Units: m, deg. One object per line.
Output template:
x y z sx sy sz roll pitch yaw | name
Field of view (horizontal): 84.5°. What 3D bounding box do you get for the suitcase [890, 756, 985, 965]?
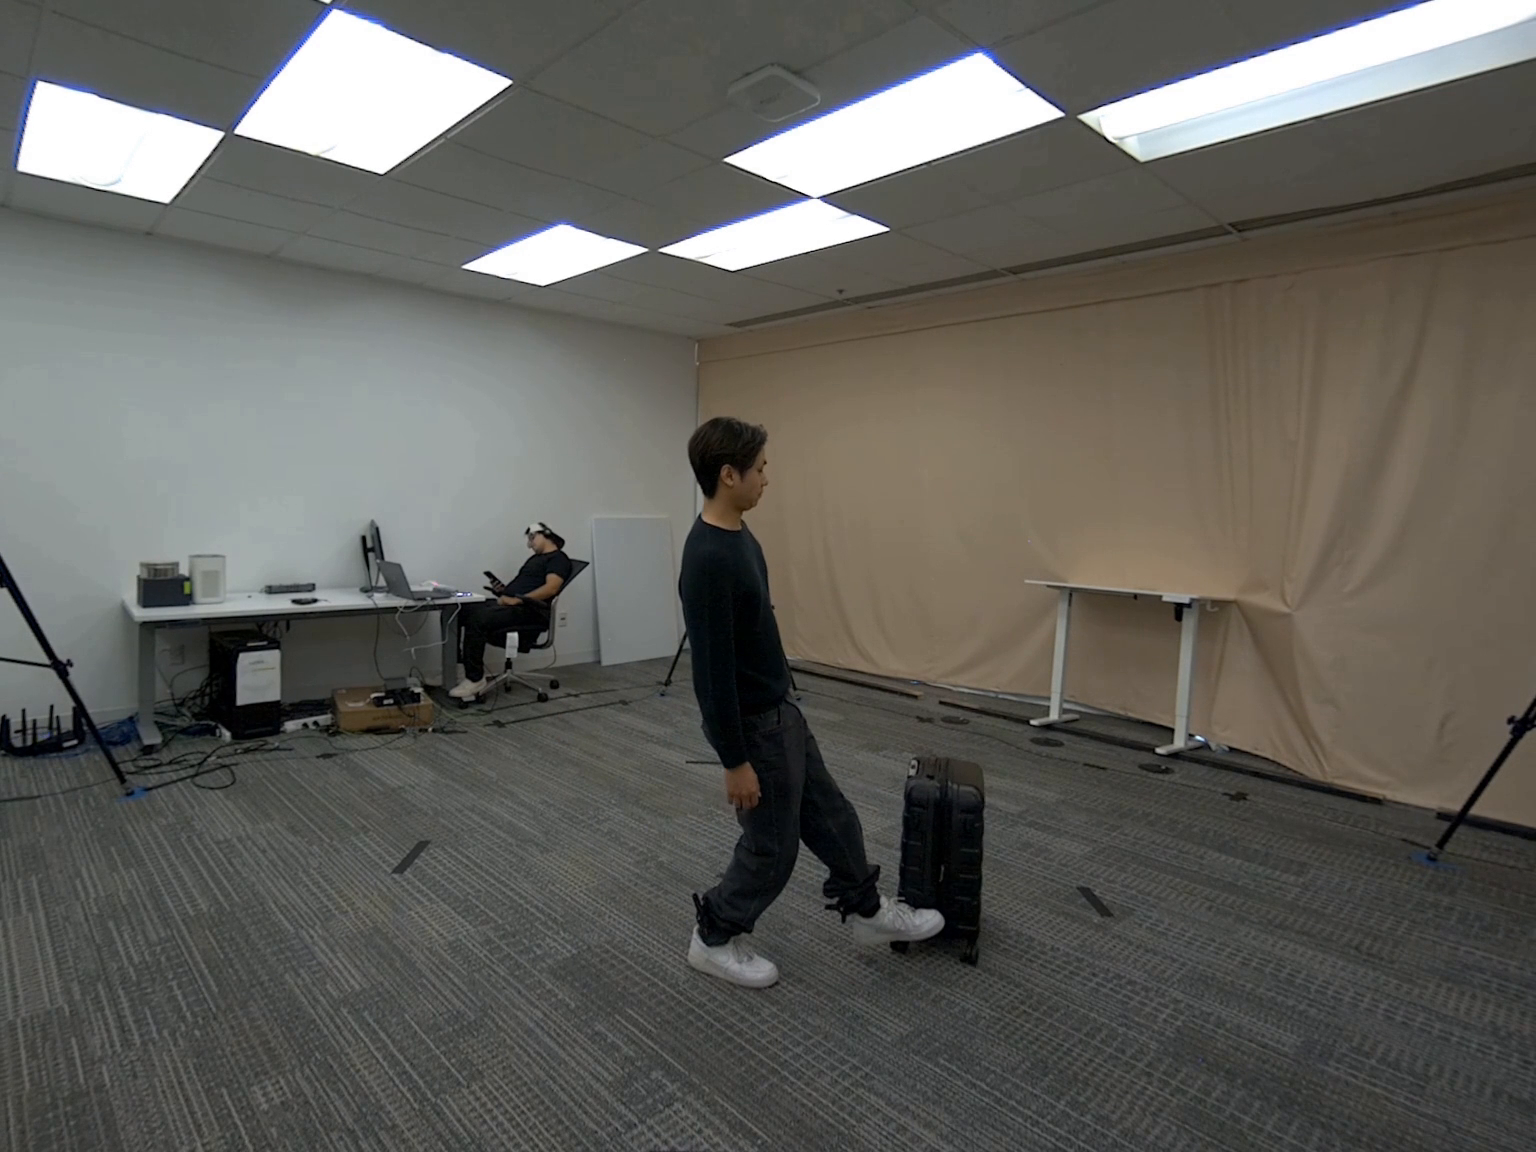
0.559 0.881 2.731 0.251 0.548 0.372 3 3 13 | suitcase
